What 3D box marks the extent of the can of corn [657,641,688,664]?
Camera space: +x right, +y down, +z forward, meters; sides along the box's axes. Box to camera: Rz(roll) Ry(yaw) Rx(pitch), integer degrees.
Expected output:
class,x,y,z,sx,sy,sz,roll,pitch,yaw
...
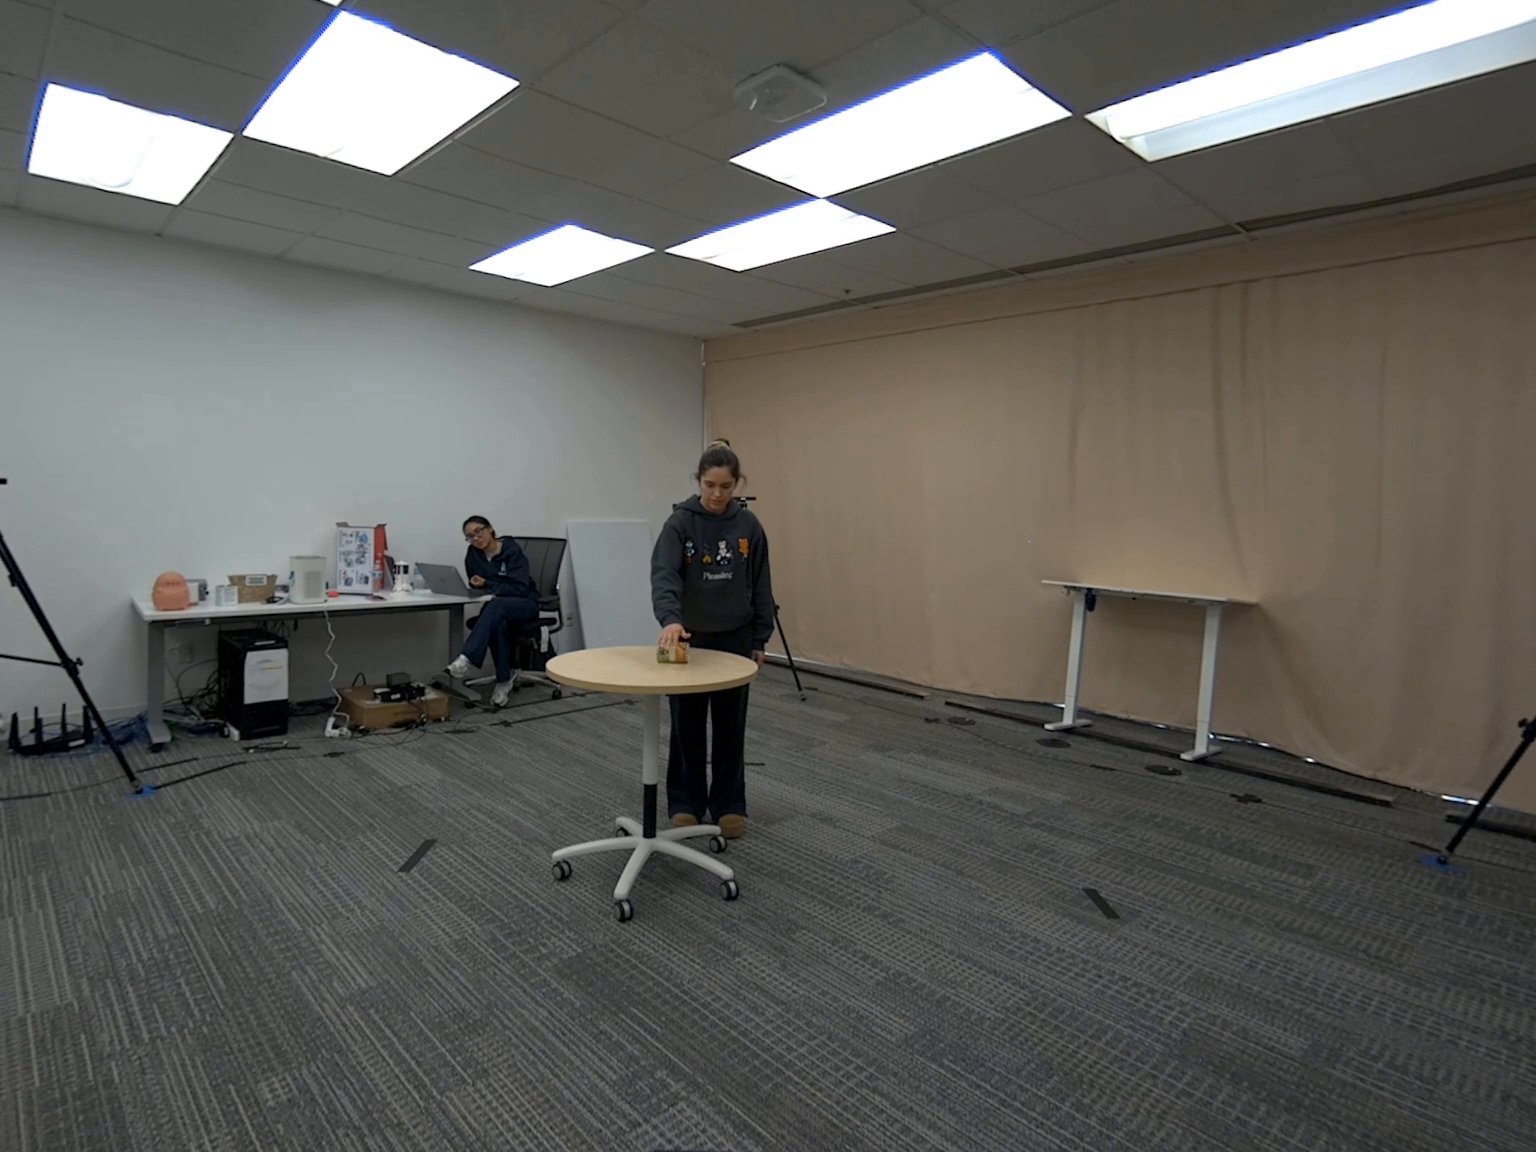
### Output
class,x,y,z,sx,sy,sz,roll,pitch,yaw
can of corn,-0.366,0.282,3.118,0.111,0.074,0.074,0,5,6
